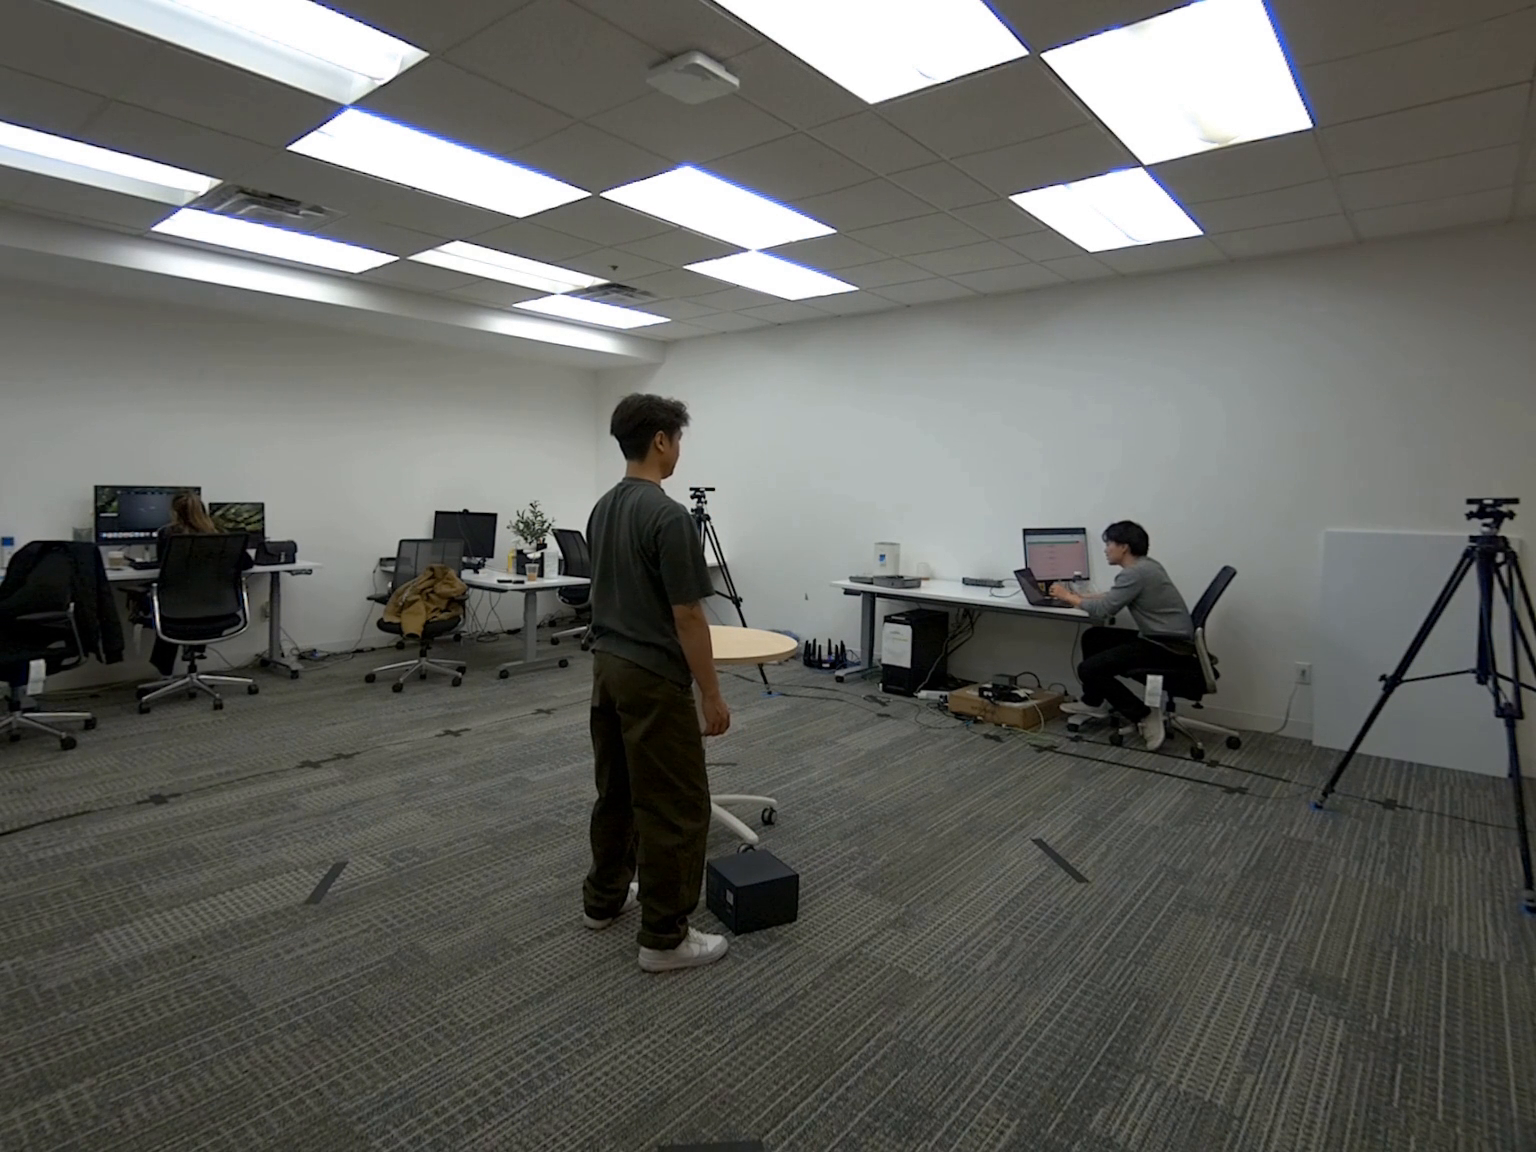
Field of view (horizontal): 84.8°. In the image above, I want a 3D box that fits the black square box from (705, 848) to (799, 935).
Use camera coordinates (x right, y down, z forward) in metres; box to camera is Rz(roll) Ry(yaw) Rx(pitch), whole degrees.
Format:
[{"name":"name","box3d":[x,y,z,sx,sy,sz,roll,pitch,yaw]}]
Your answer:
[{"name":"black square box","box3d":[-0.062,1.019,2.777,0.222,0.155,0.223,-1,5,-30]}]
